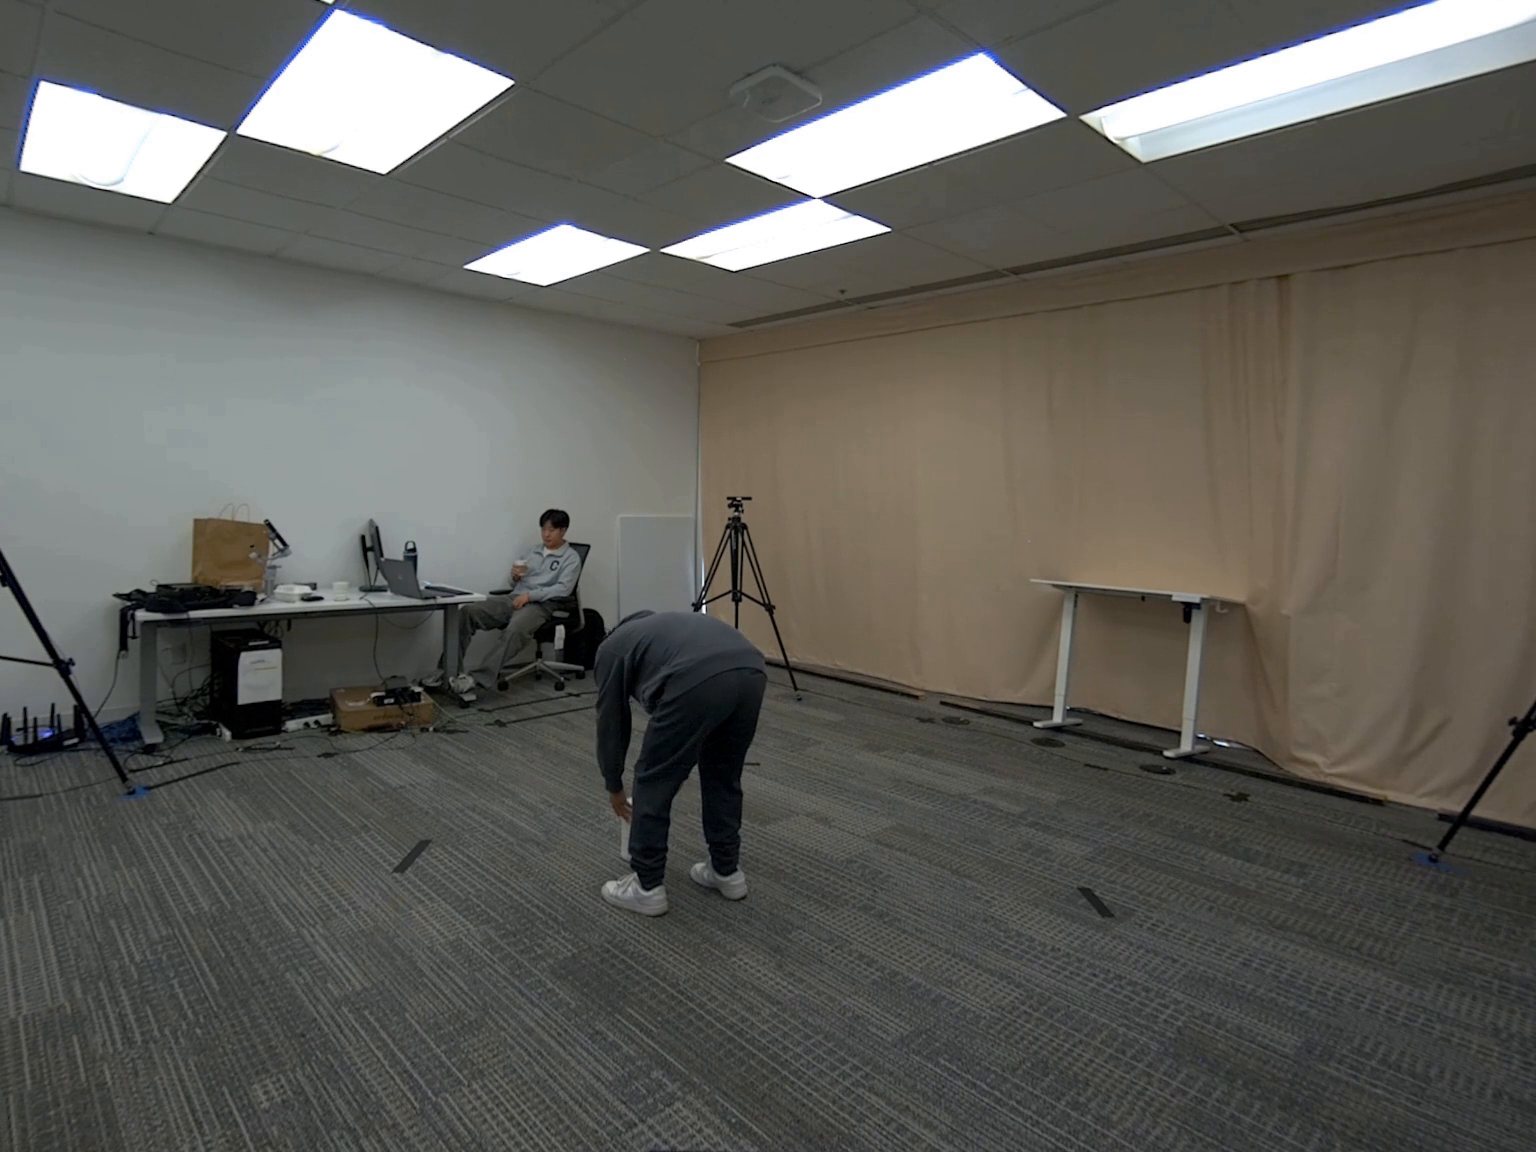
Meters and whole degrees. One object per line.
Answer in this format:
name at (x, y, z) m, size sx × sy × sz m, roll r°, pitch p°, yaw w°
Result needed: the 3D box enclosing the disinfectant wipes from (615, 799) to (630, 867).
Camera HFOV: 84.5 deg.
disinfectant wipes at (-0.516, 0.982, 3.242) m, size 0.118 × 0.217 × 0.118 m, roll 2°, pitch 1°, yaw -1°
